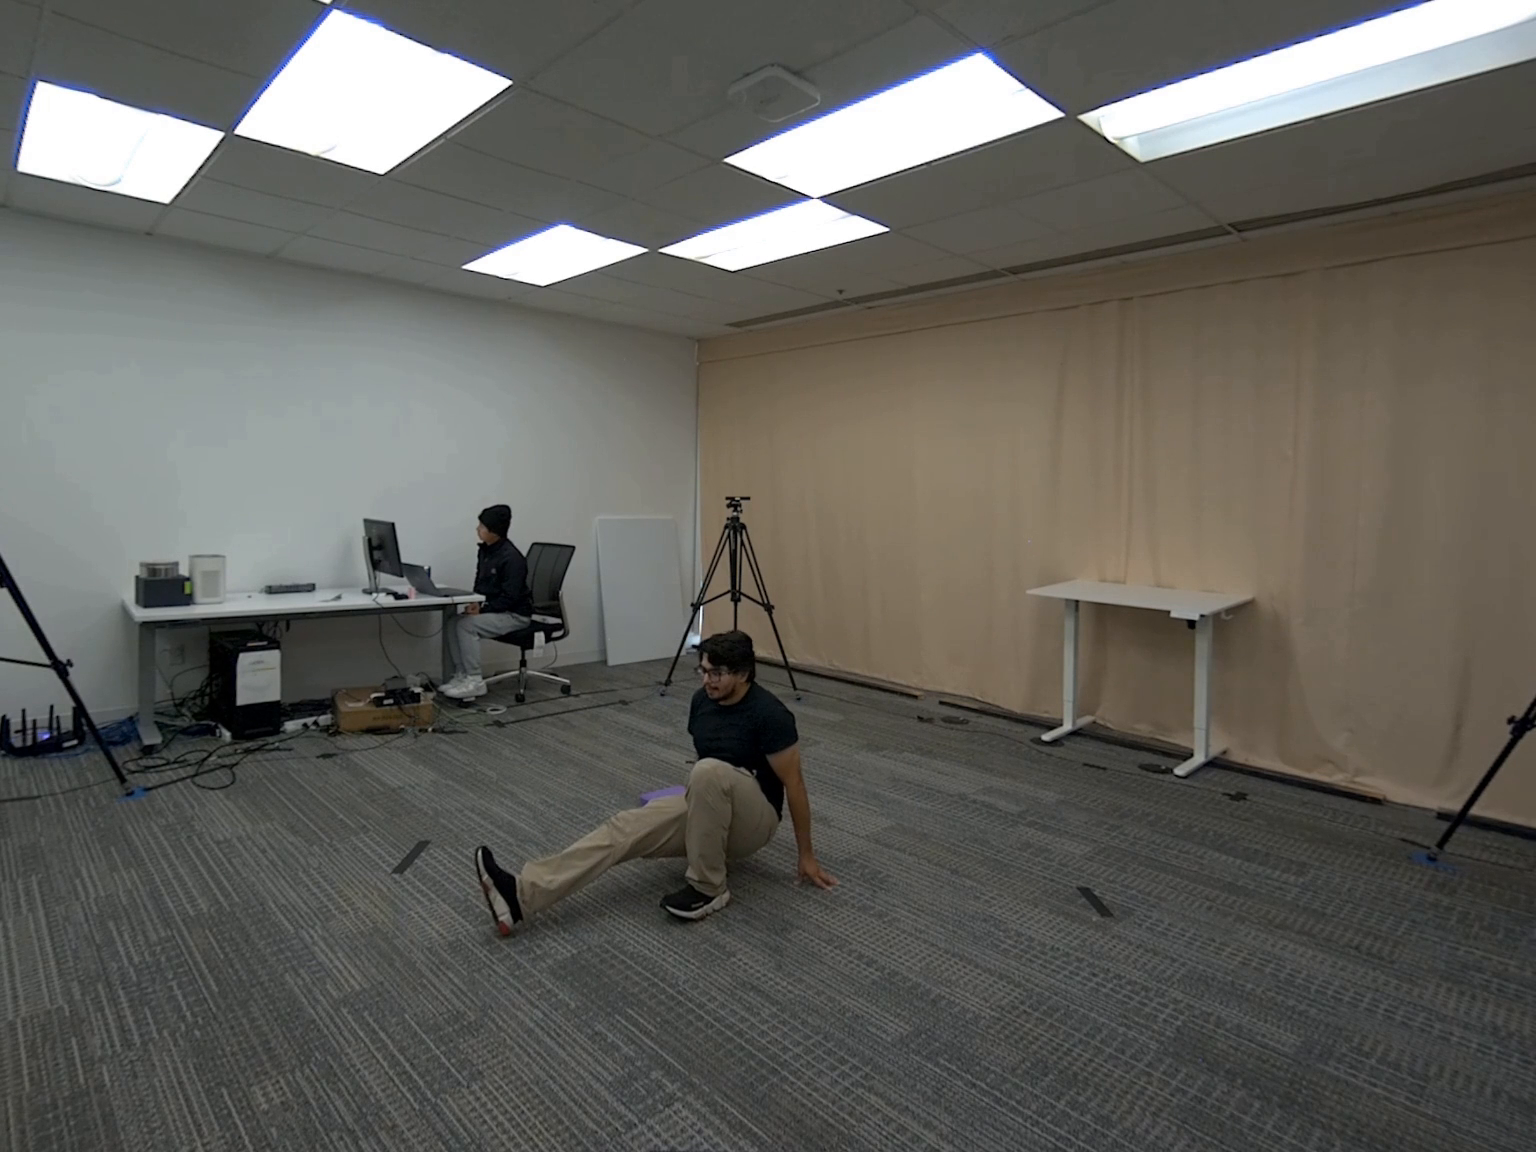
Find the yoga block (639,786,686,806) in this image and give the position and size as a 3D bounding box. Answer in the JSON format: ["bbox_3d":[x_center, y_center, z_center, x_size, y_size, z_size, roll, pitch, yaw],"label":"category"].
[{"bbox_3d":[-0.448,1.007,3.740,0.224,0.076,0.153,-2,5,-42],"label":"yoga block"}]
